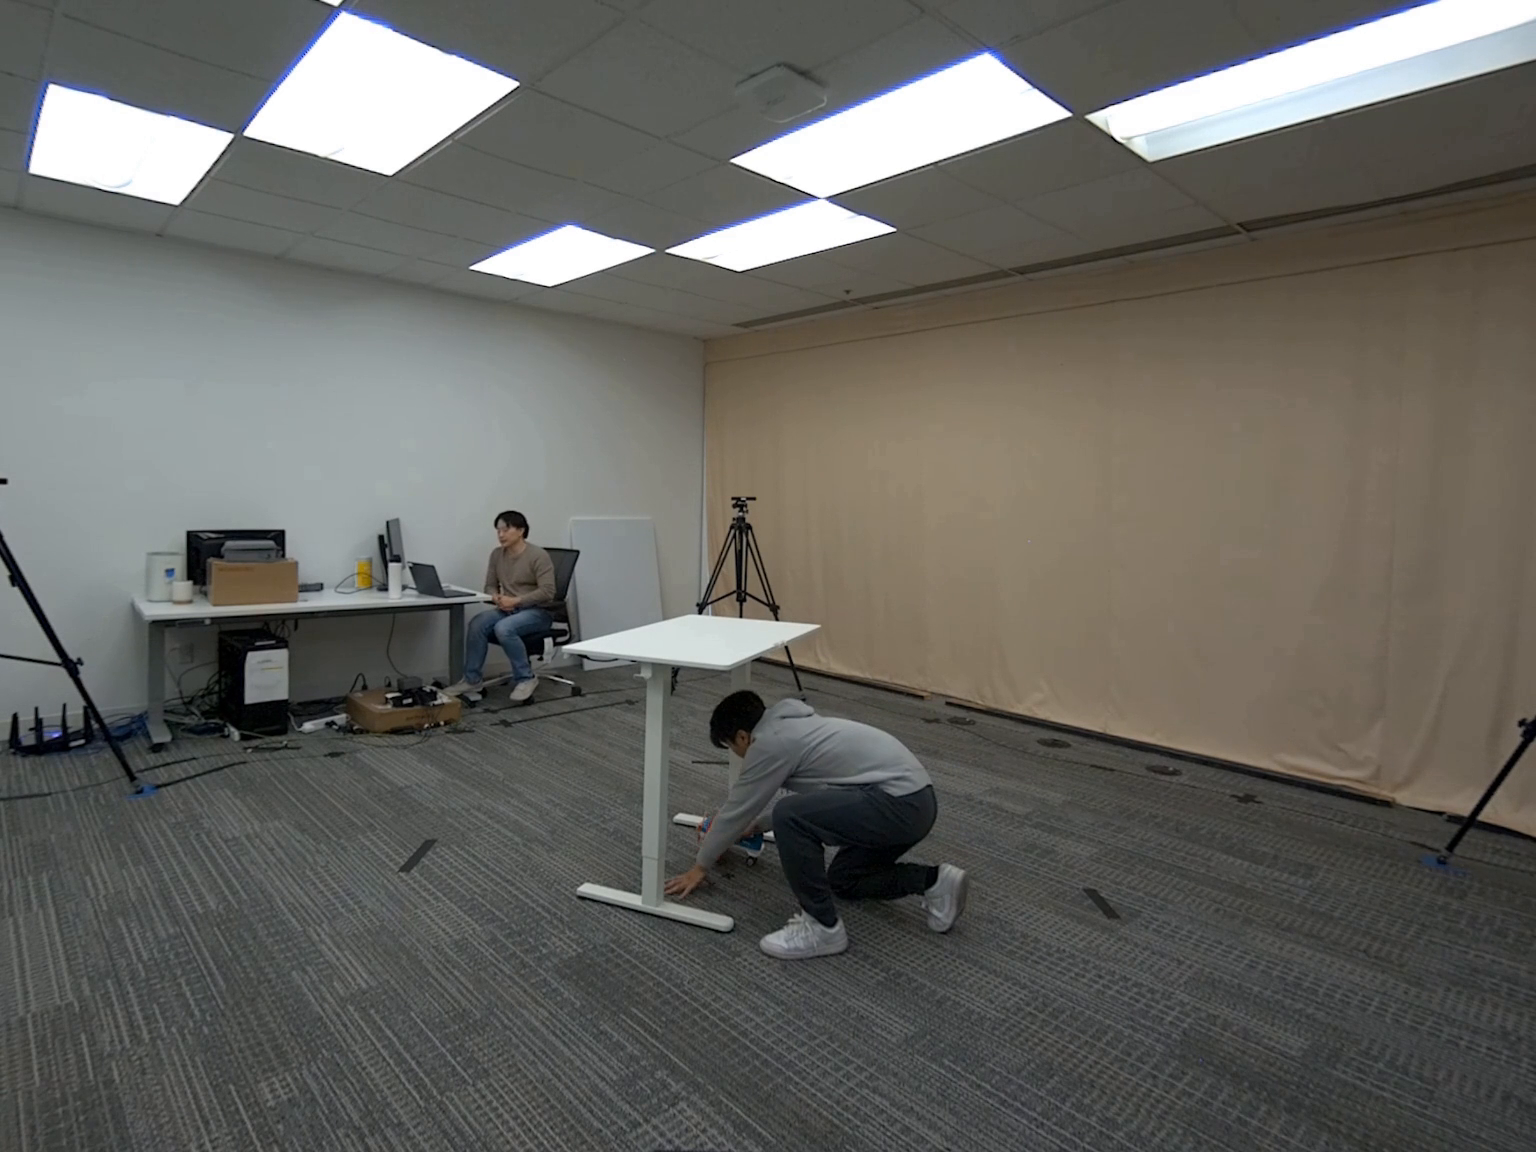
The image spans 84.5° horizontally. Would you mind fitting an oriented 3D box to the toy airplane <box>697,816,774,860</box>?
[{"bbox_3d":[-0.153,1.025,3.263,0.256,0.156,0.255,-1,7,-16],"label":"toy airplane"}]
